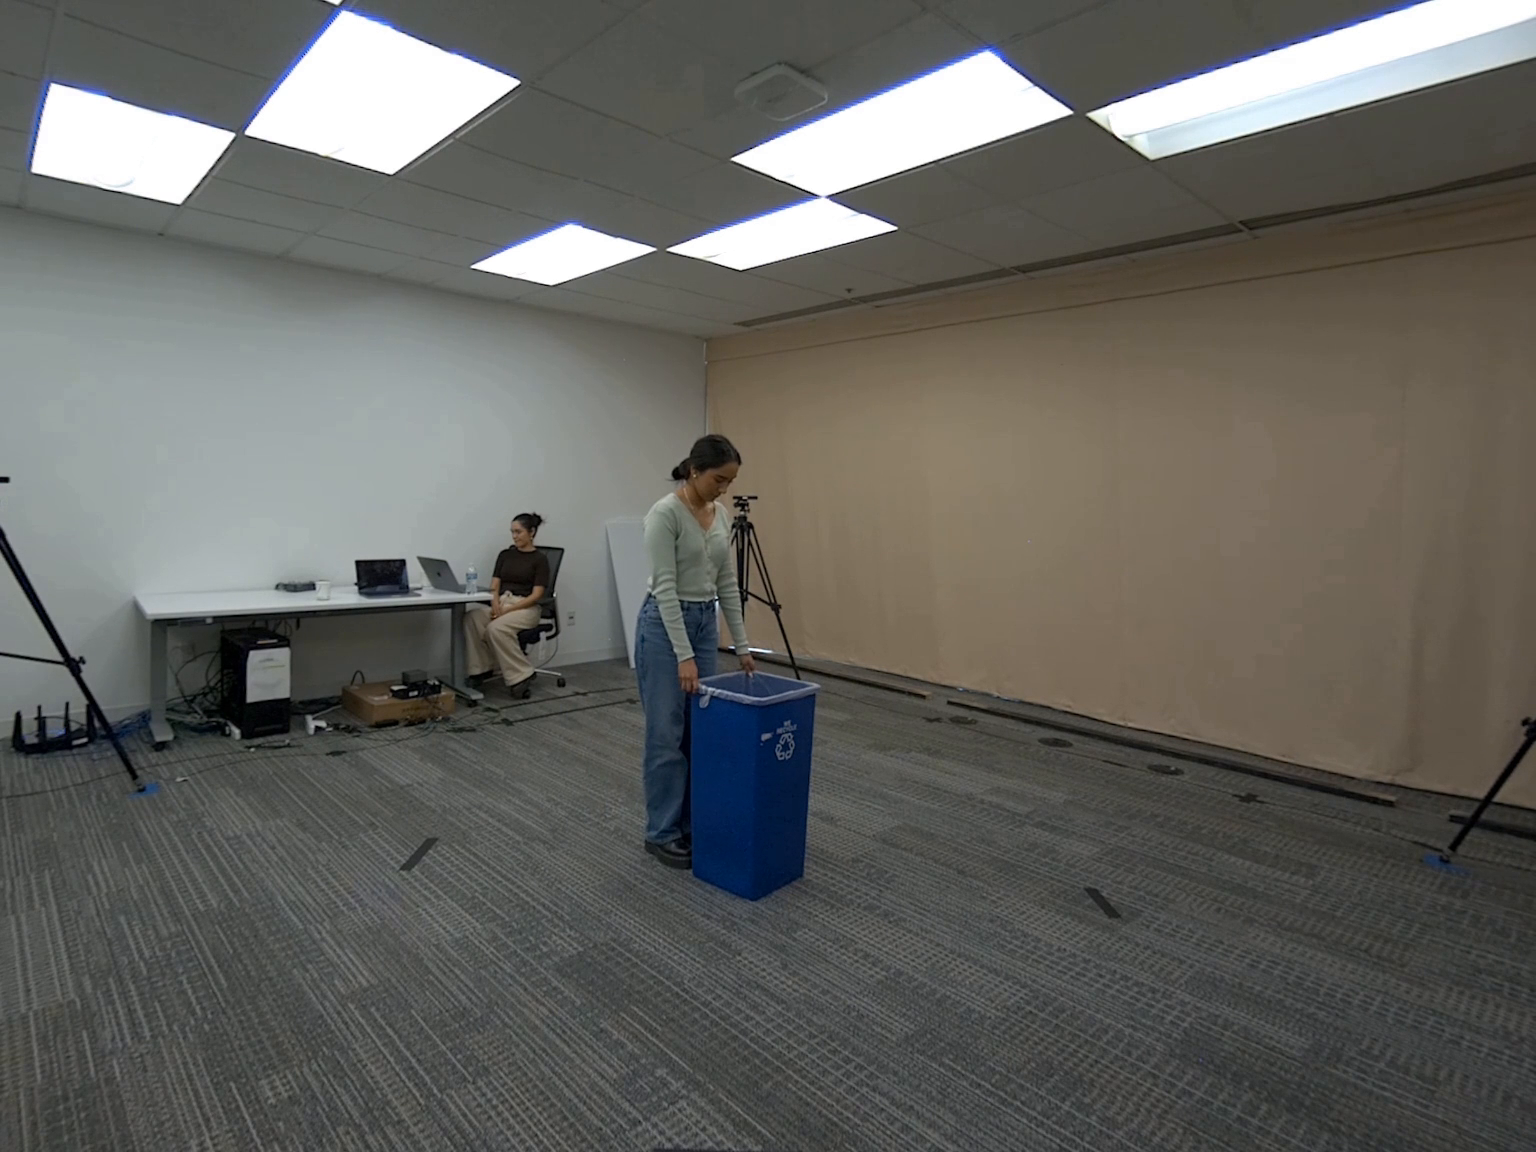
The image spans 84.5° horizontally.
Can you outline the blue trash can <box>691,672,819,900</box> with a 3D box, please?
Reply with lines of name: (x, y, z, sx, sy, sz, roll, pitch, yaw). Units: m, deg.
blue trash can: (-0.067, 0.747, 3.089, 0.387, 0.712, 0.366, 4, 5, 41)
